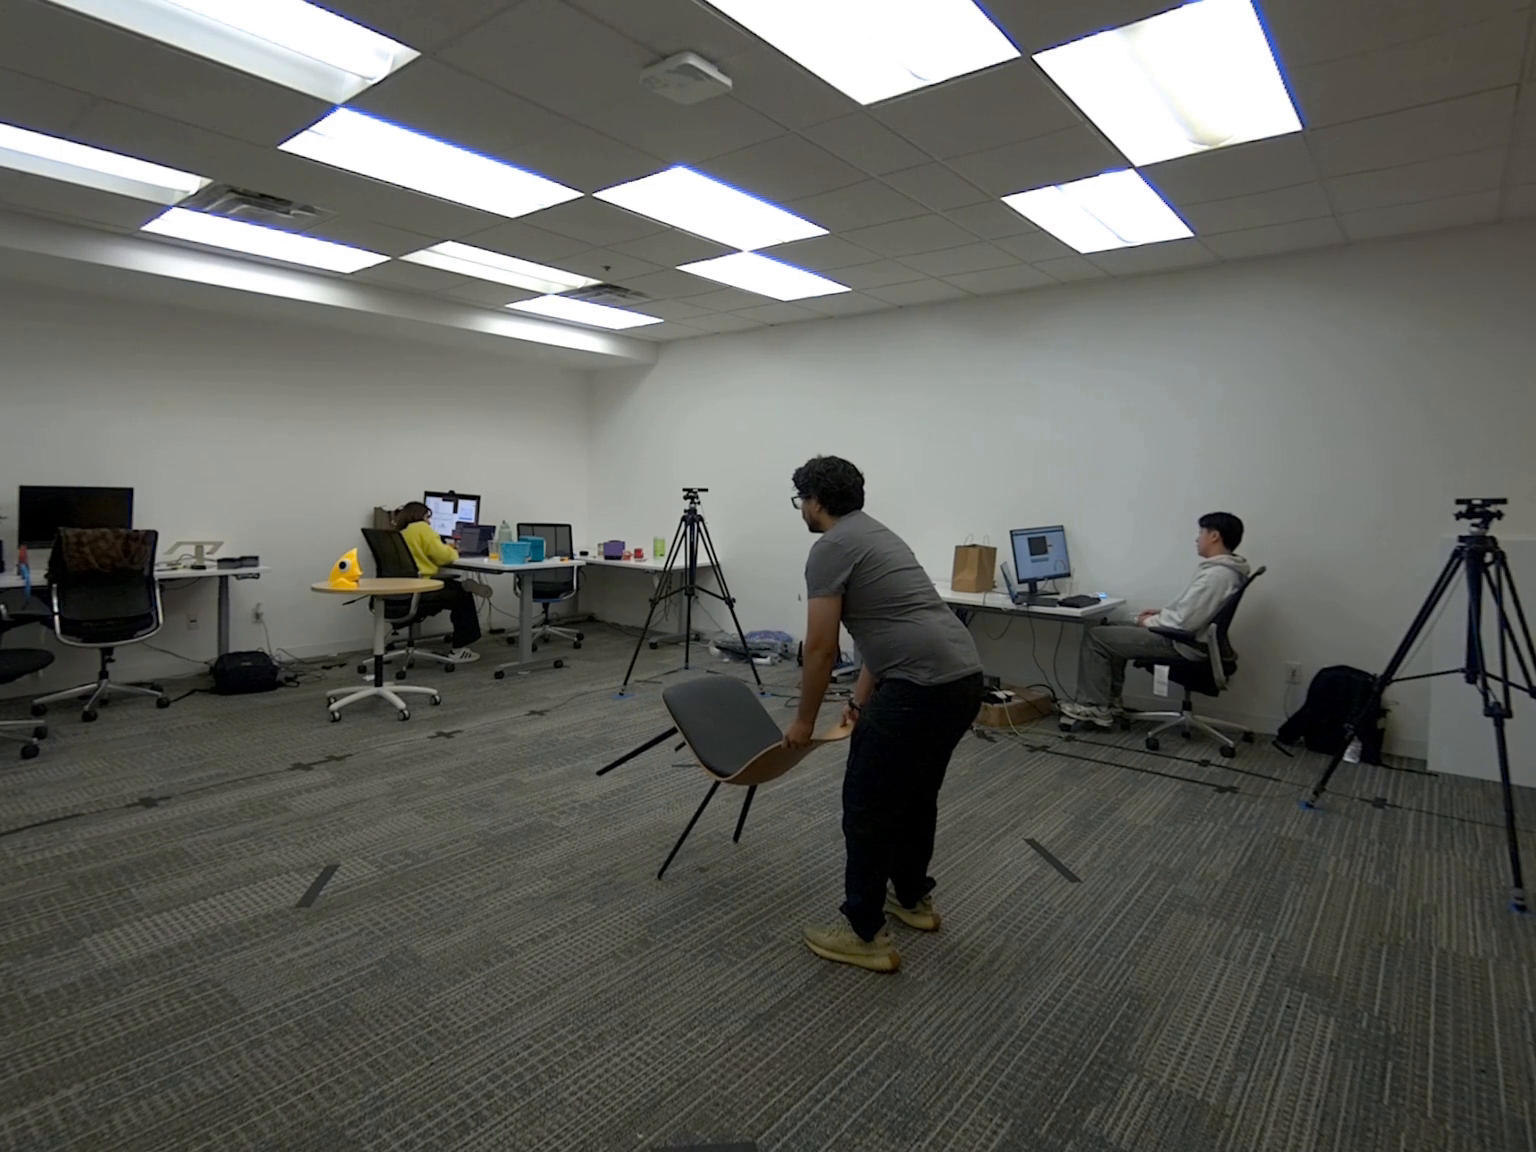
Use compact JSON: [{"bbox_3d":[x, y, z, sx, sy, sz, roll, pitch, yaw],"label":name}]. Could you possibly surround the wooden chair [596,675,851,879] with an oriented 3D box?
[{"bbox_3d":[-0.162,0.597,3.093,0.464,0.539,0.877,-3,-37,-52],"label":"wooden chair"}]
